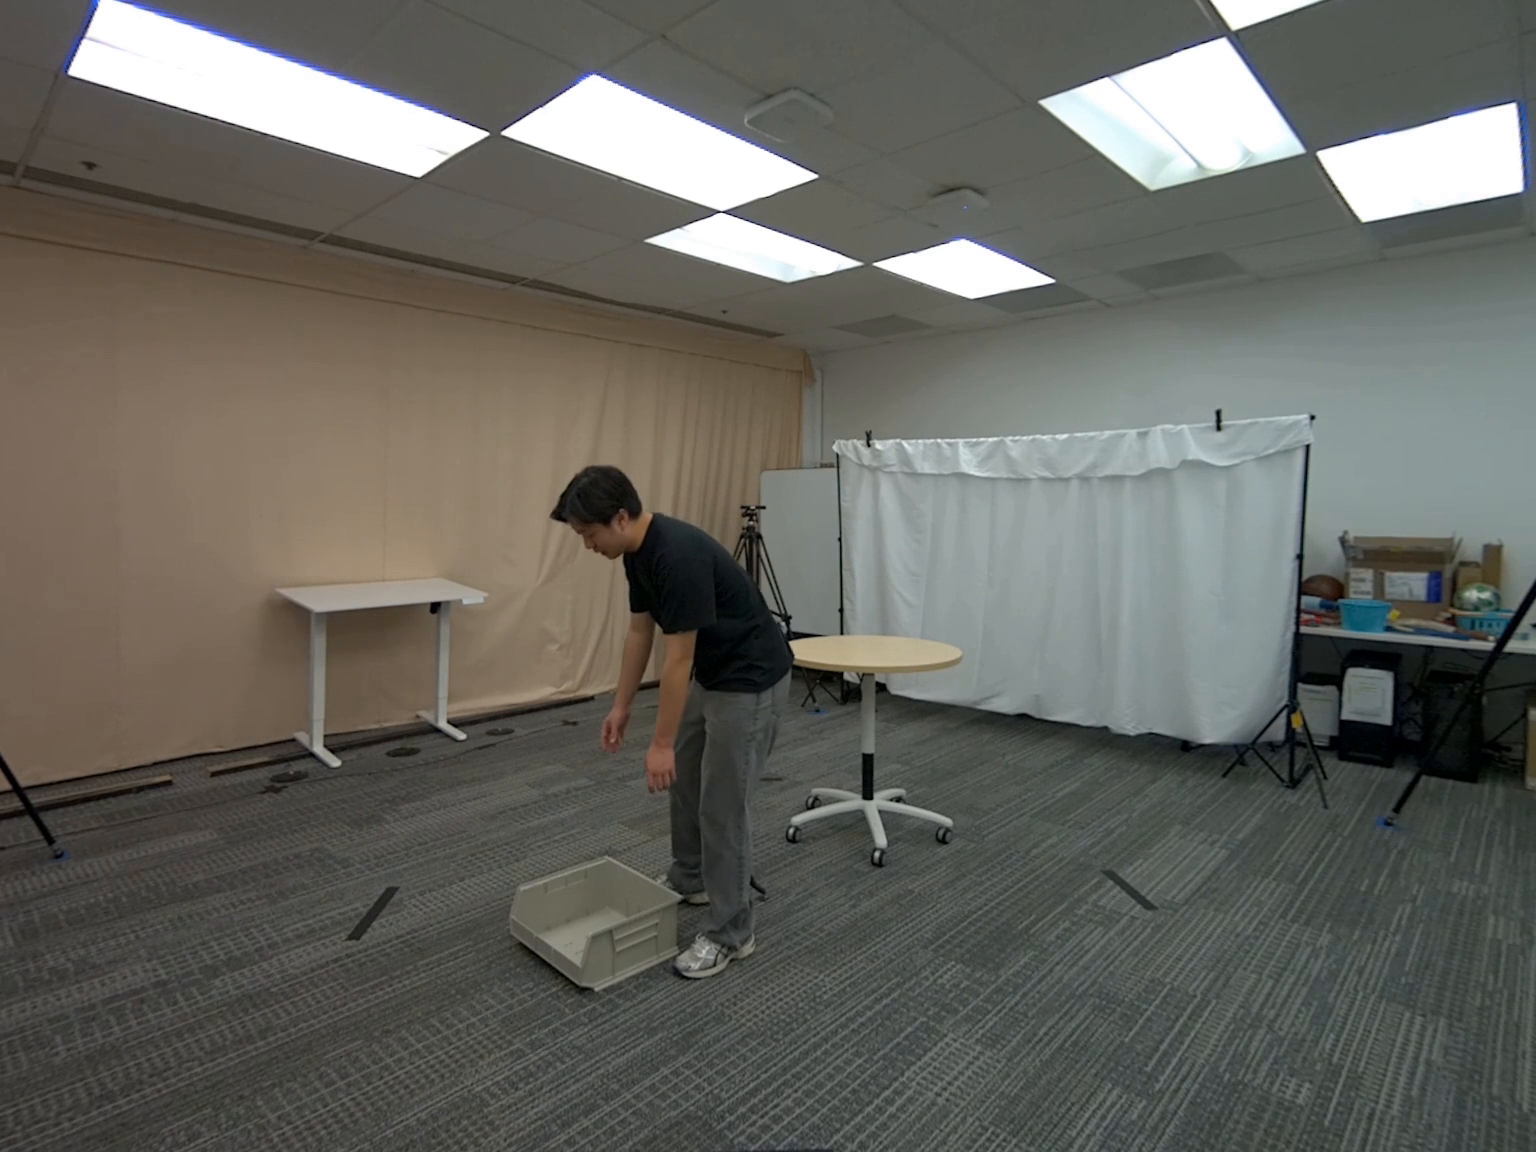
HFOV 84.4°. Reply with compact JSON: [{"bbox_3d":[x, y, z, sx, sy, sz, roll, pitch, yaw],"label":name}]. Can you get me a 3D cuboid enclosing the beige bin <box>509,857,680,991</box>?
[{"bbox_3d":[-0.539,1.085,2.652,0.366,0.188,0.436,-4,5,-44],"label":"beige bin"}]
